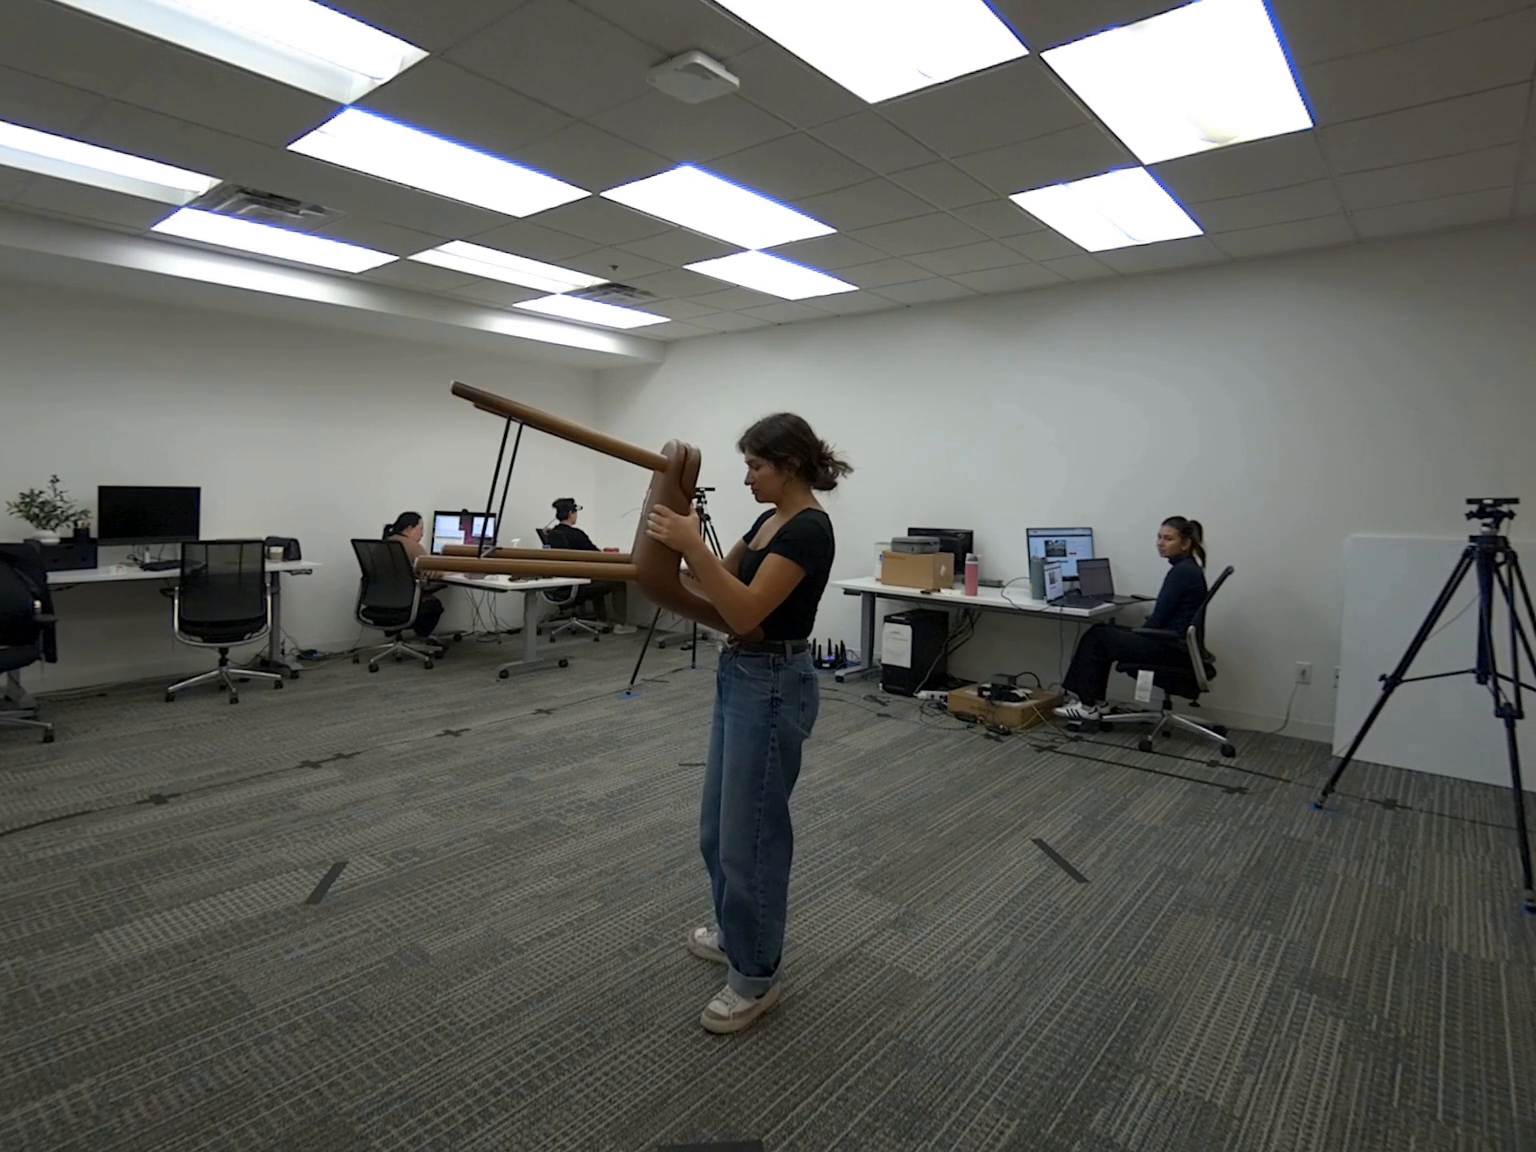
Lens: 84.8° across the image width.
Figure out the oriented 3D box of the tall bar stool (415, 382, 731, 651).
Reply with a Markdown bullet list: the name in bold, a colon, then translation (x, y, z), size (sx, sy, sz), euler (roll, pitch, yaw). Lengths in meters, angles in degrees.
- **tall bar stool**: translation (-0.420, -0.162, 2.239), size (0.878, 0.467, 0.463), euler (14, 2, -11)
